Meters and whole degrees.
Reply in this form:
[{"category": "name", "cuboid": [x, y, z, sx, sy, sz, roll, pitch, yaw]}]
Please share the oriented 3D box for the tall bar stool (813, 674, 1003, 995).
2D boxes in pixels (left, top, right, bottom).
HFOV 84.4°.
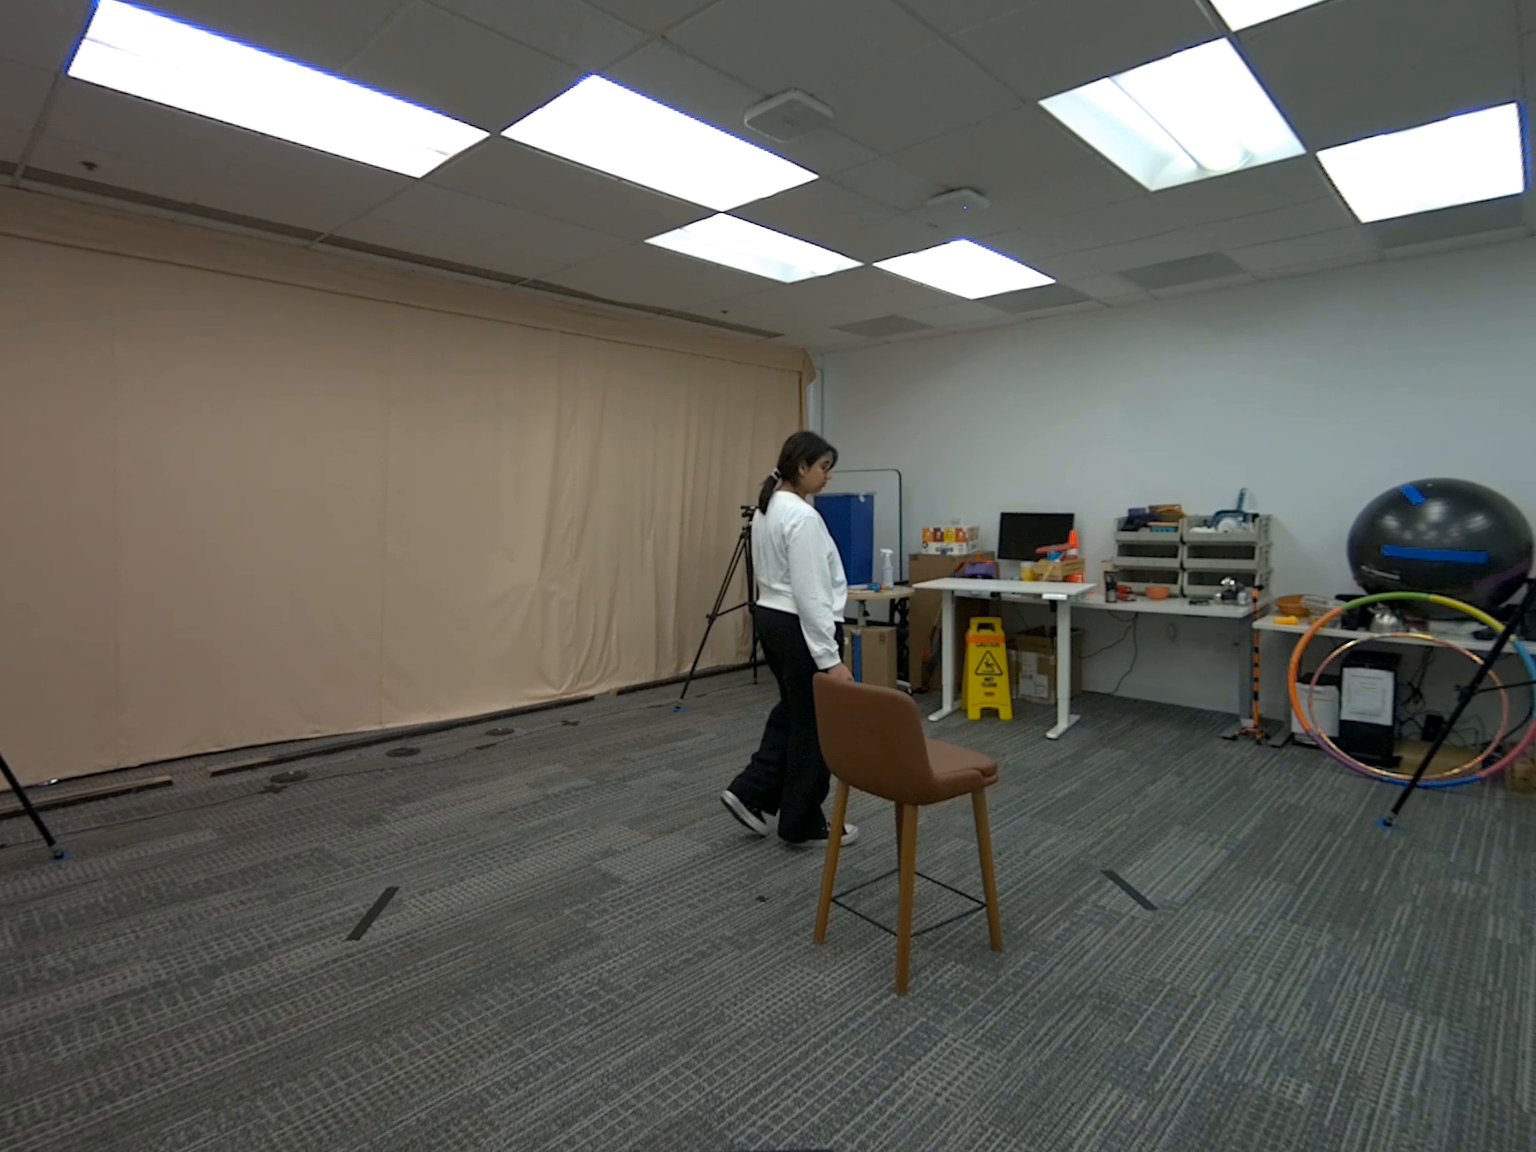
[{"category": "tall bar stool", "cuboid": [0.442, 0.739, 2.641, 0.454, 0.887, 0.471, -5, 6, -38]}]
